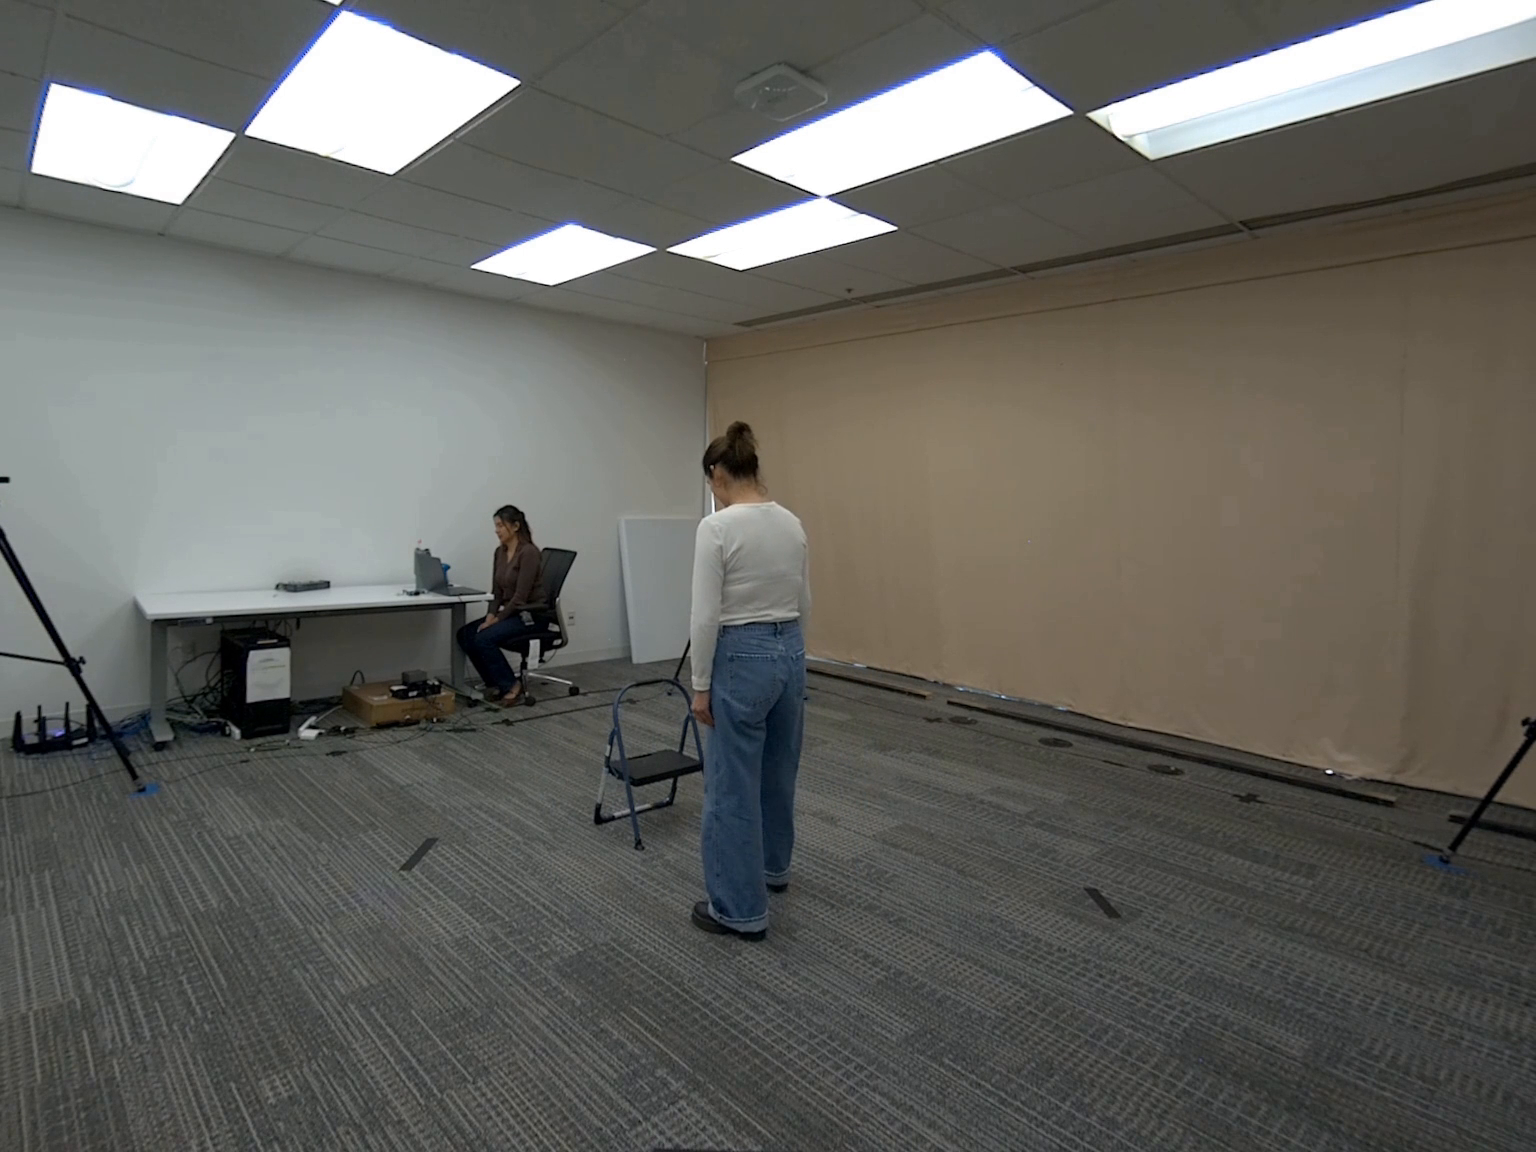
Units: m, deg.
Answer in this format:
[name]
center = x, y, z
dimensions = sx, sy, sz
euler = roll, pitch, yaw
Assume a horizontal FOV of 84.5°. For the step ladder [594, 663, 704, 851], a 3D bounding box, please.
[step ladder]
center = -0.471, 0.754, 3.551
dimensions = 0.421, 0.605, 0.358
euler = -2, 4, -43
